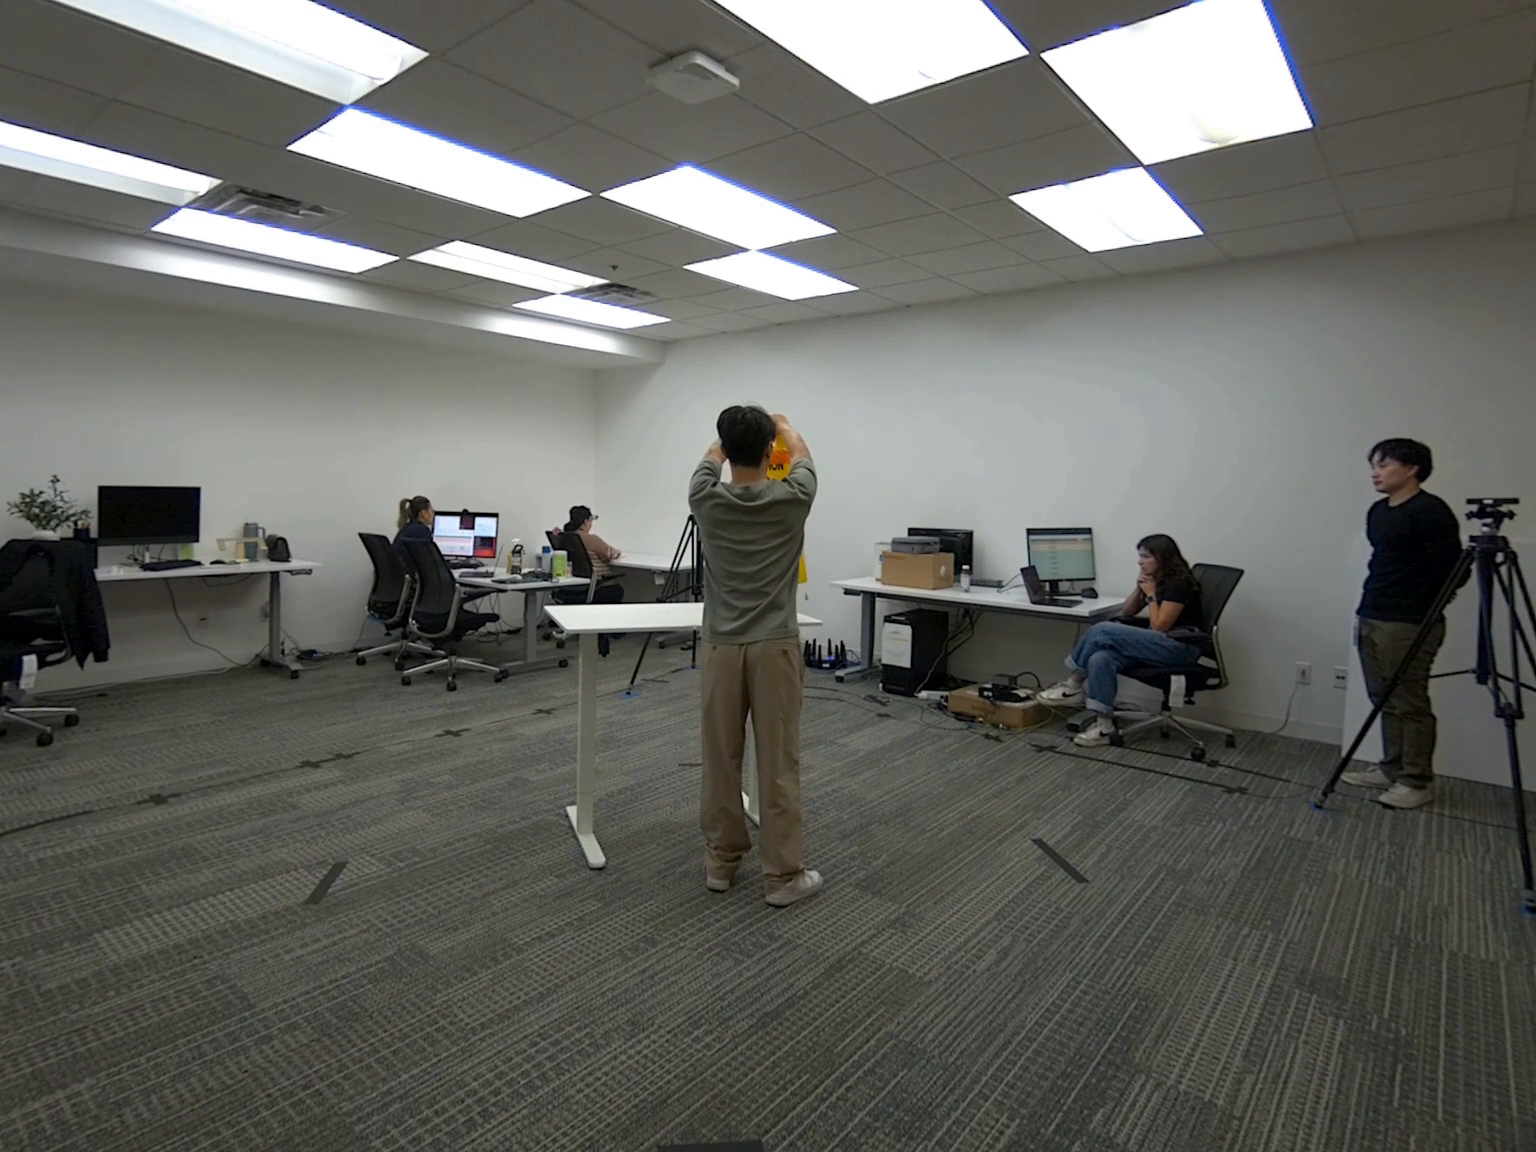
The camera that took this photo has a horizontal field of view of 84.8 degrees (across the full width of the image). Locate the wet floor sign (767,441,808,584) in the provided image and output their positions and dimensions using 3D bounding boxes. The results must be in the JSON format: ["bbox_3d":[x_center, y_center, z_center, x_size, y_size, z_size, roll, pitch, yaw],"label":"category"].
[{"bbox_3d":[-0.025,-0.299,3.488,0.280,0.639,0.295,-2,11,-9],"label":"wet floor sign"}]
